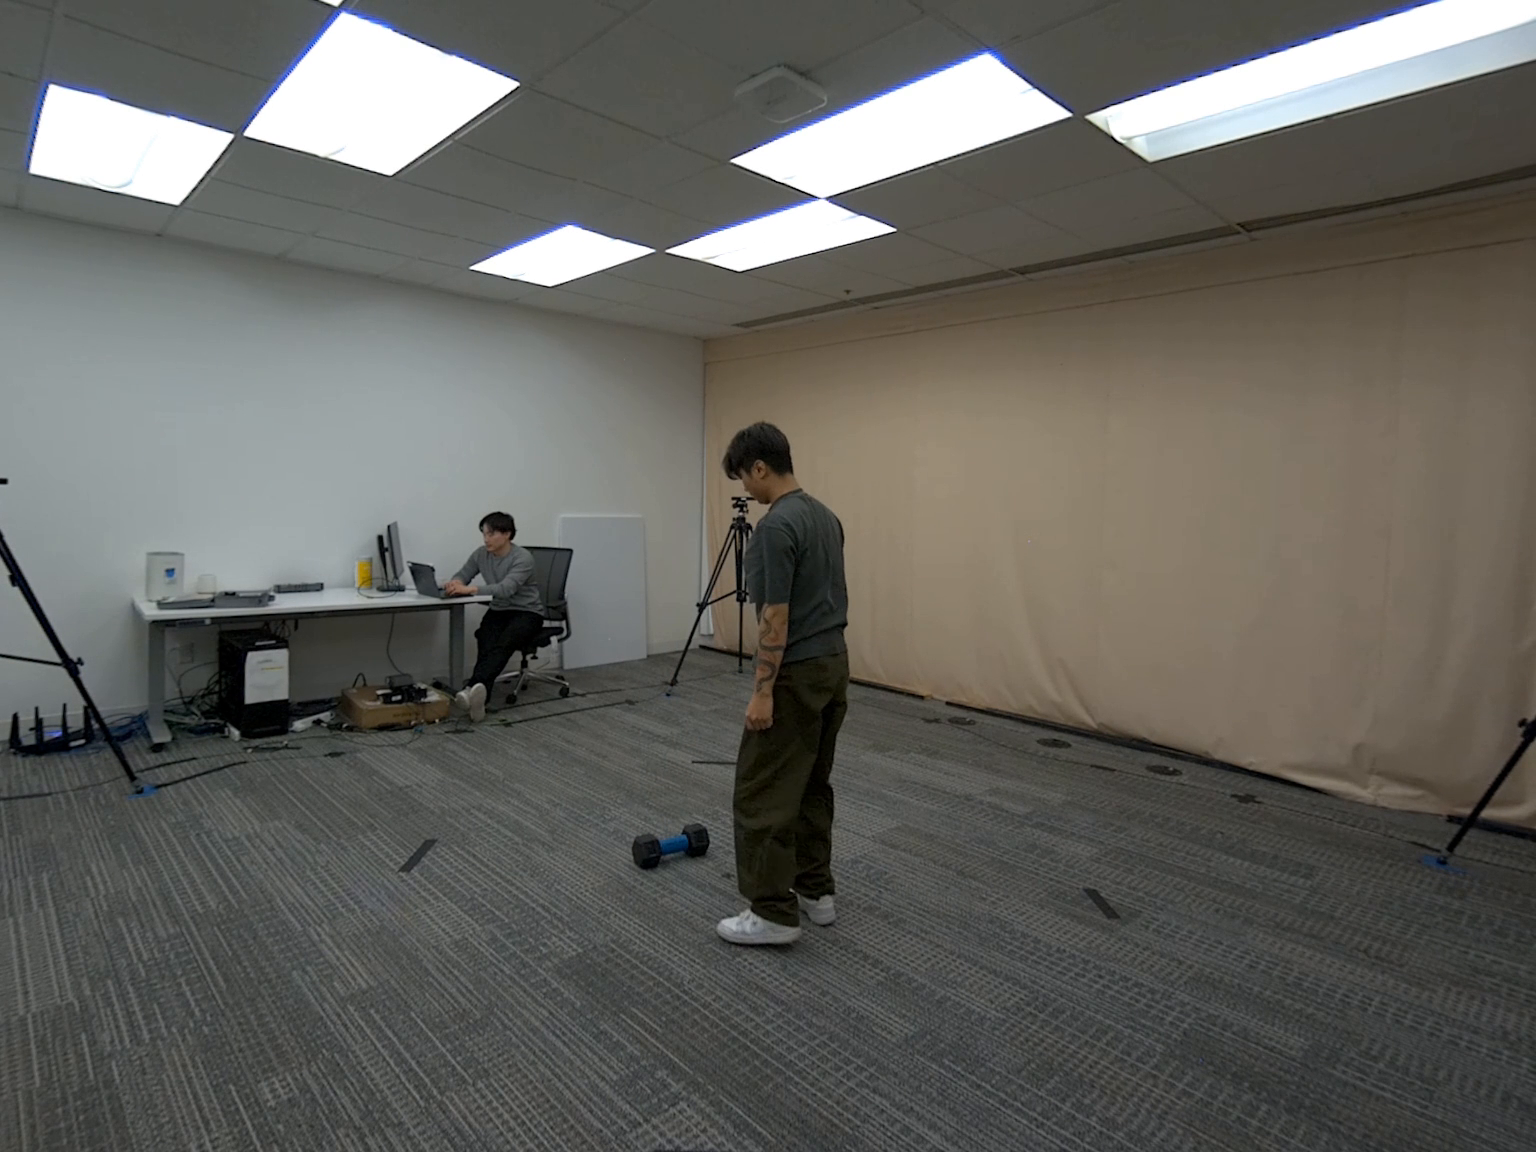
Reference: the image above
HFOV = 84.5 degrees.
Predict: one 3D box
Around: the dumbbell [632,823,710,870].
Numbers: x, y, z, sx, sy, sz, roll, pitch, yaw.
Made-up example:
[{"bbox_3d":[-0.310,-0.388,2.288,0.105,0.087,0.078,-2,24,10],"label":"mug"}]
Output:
[{"bbox_3d":[-0.379,1.034,3.233,0.287,0.125,0.109,-2,-27,-33],"label":"dumbbell"}]
